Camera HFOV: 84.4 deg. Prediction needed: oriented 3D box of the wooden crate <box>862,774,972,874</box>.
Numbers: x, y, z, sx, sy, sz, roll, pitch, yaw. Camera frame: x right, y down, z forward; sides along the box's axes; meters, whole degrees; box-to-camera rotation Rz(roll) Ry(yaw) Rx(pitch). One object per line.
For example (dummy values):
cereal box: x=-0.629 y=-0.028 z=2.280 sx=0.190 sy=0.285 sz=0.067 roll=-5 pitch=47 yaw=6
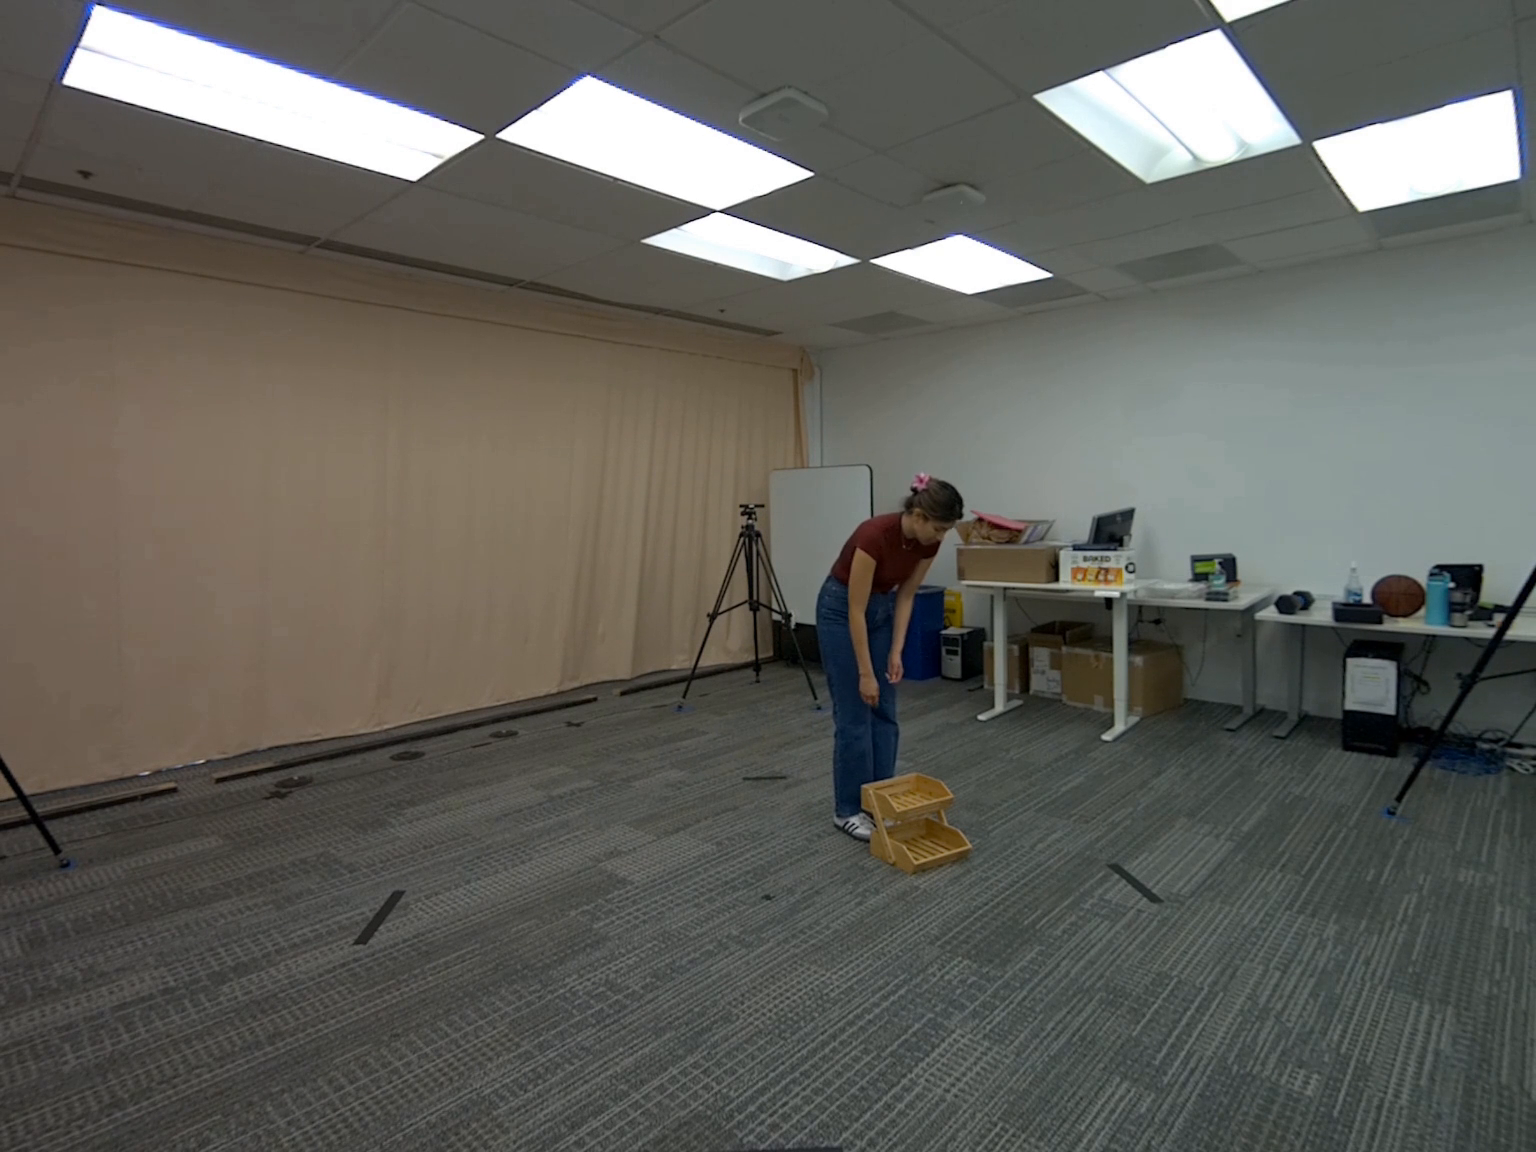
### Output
wooden crate: x=0.590 y=0.962 z=3.325 sx=0.315 sy=0.273 sz=0.311 roll=-3 pitch=4 yaw=-33
